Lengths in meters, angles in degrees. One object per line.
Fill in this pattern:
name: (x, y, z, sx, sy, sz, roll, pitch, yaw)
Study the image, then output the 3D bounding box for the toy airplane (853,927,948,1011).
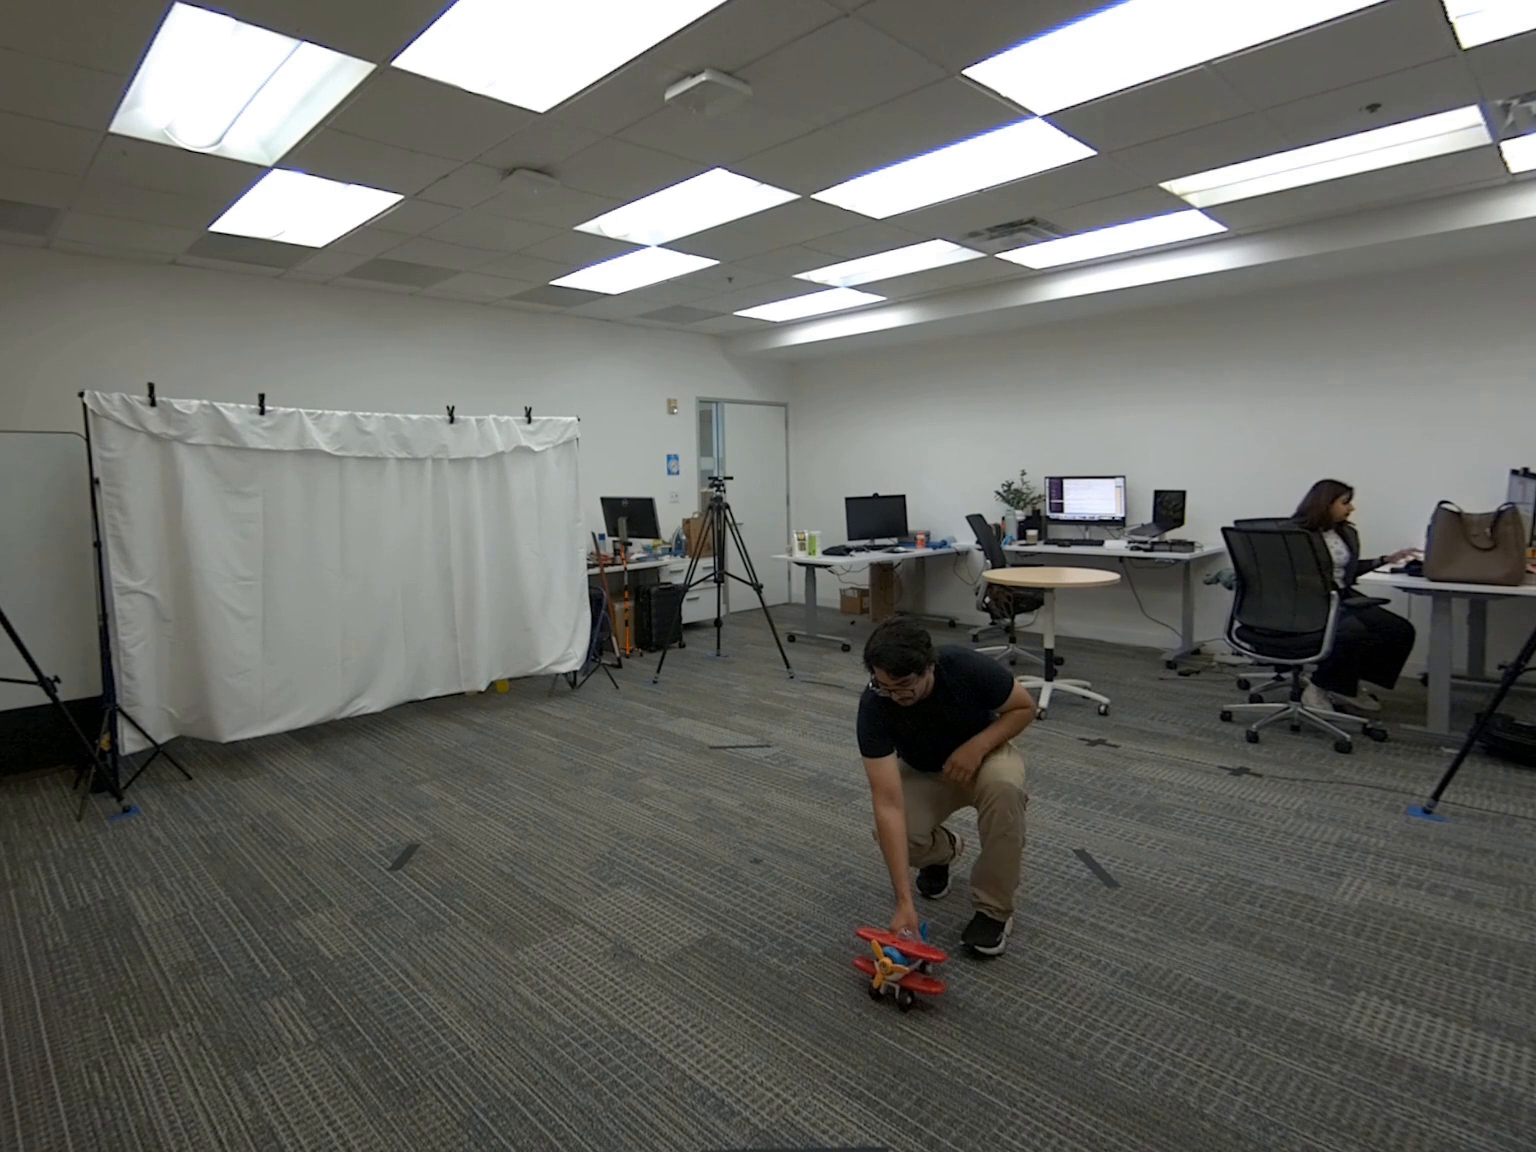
toy airplane: (0.364, 1.046, 2.329, 0.253, 0.155, 0.259, 0, 8, 6)
